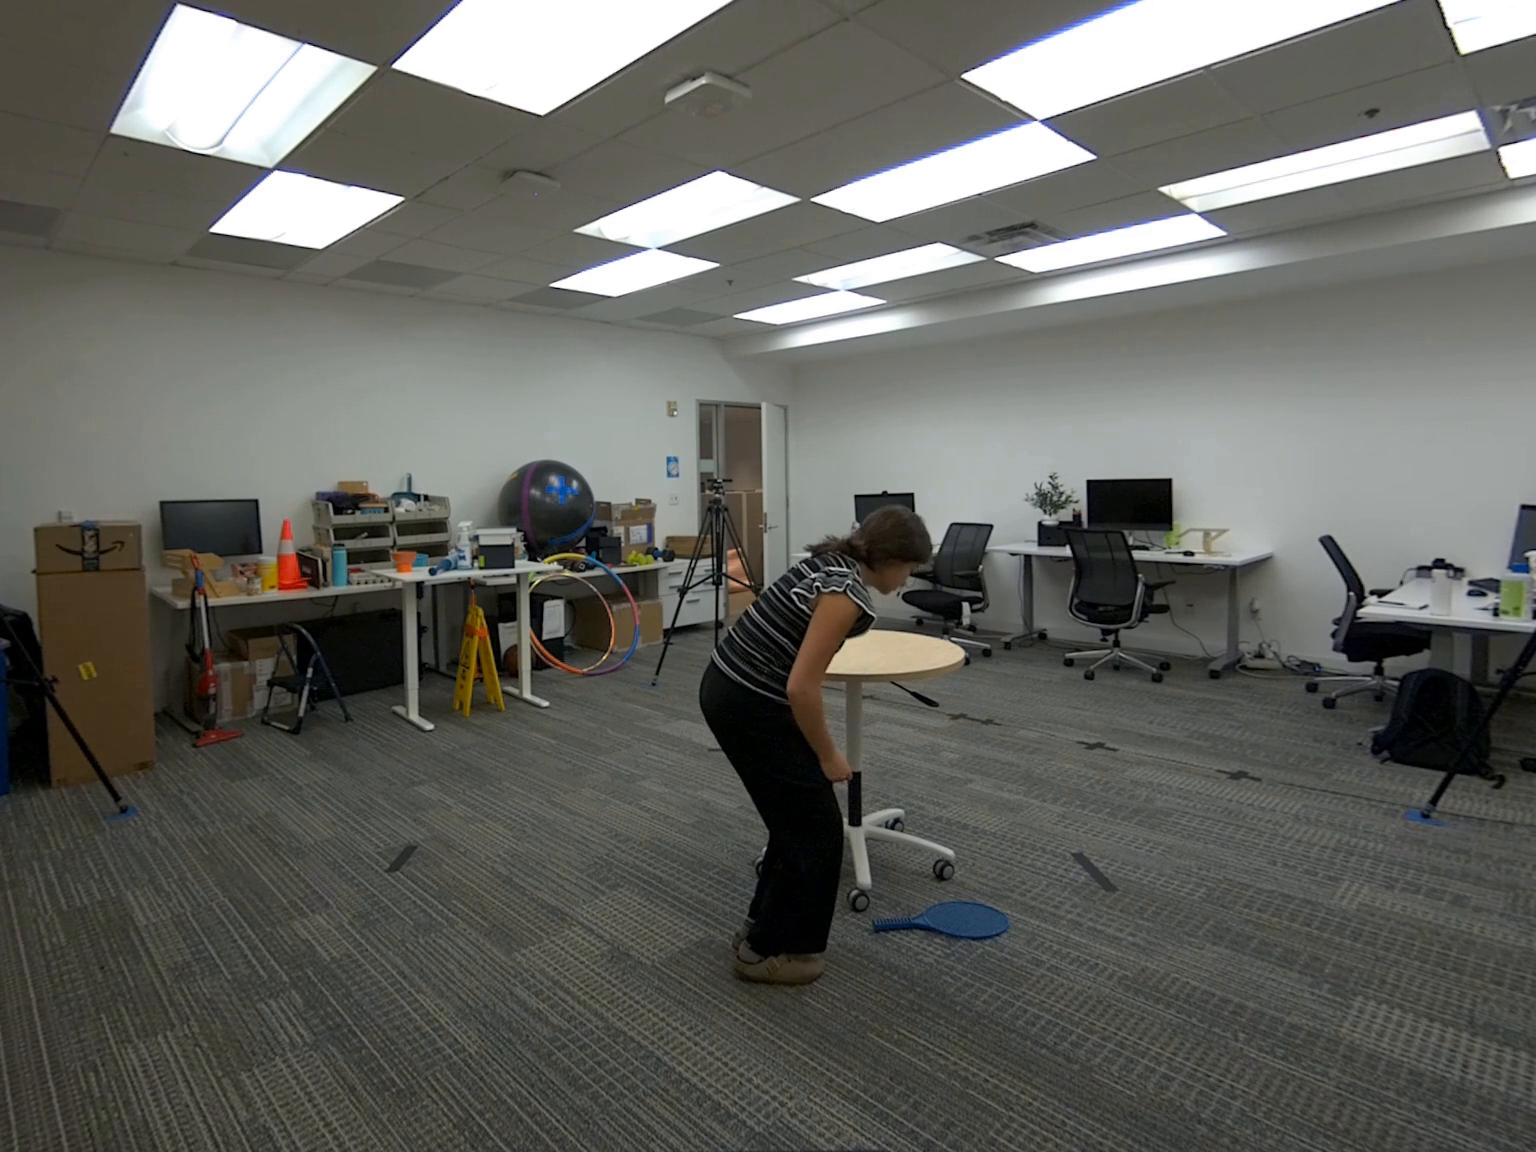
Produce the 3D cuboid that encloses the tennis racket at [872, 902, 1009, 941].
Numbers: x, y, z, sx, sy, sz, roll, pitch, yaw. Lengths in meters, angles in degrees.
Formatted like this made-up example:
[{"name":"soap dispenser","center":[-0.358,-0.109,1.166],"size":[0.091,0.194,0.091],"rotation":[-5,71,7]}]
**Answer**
[{"name":"tennis racket","center":[0.523,1.048,2.690],"size":[0.430,0.031,0.216],"rotation":[-1,7,-7]}]
